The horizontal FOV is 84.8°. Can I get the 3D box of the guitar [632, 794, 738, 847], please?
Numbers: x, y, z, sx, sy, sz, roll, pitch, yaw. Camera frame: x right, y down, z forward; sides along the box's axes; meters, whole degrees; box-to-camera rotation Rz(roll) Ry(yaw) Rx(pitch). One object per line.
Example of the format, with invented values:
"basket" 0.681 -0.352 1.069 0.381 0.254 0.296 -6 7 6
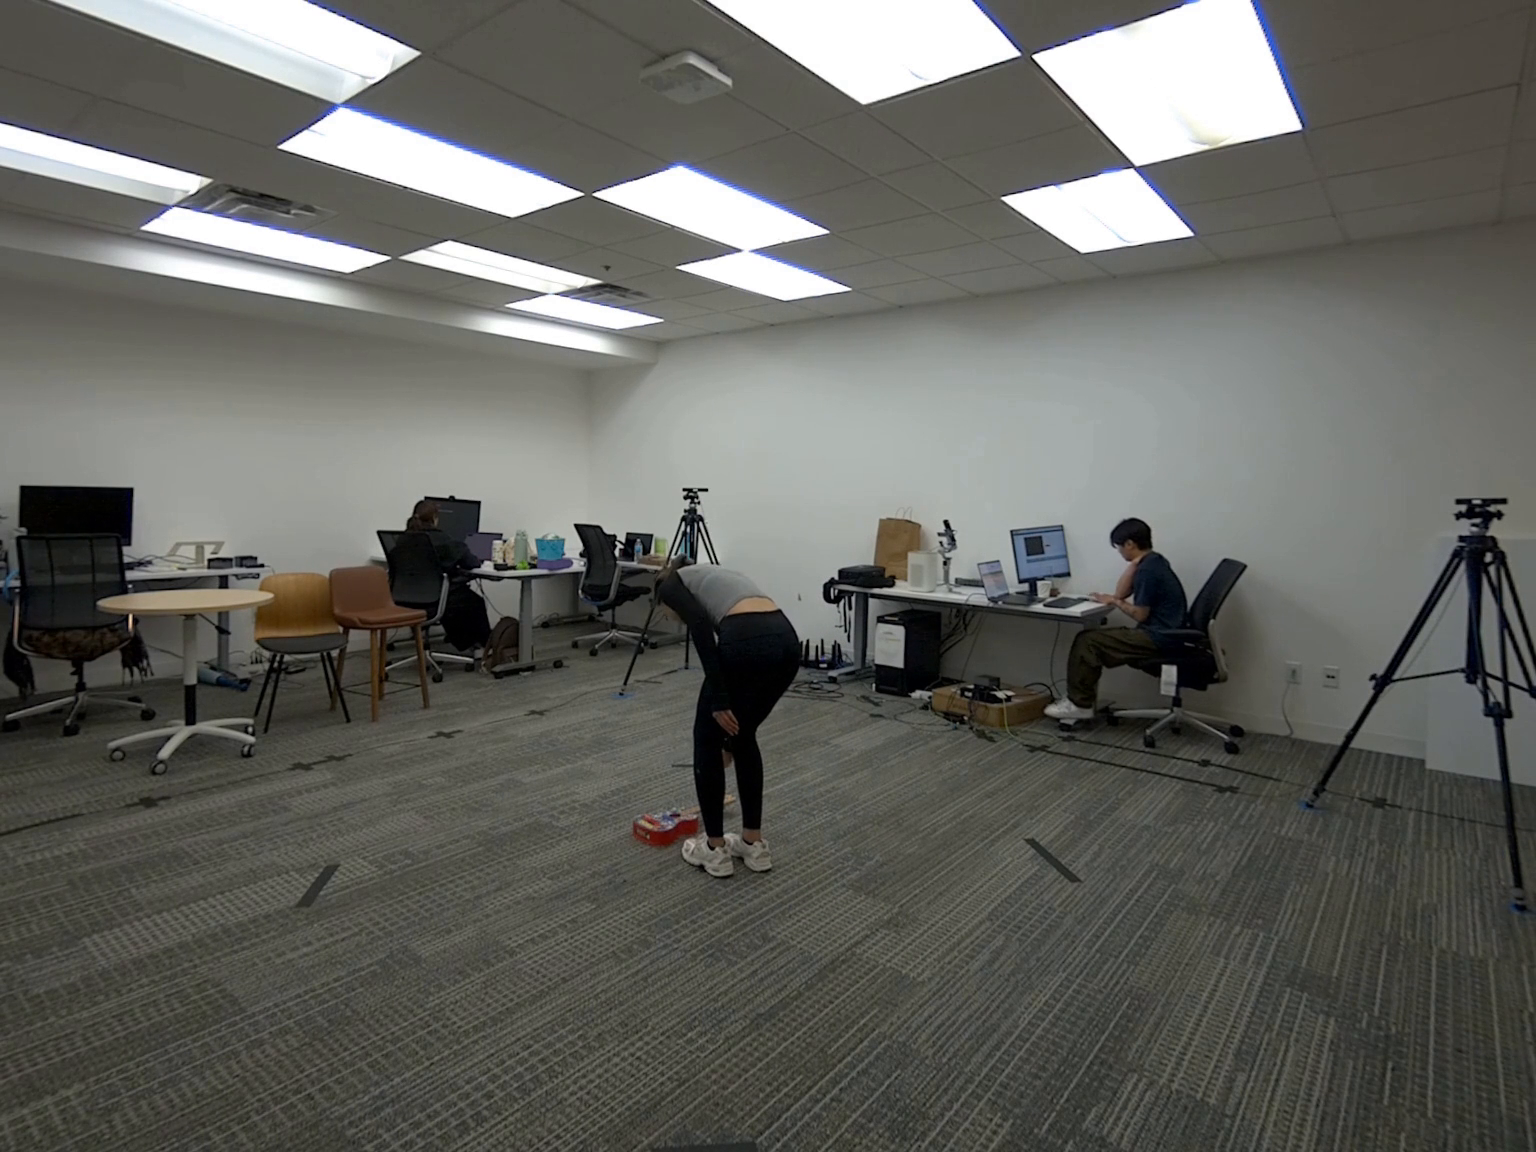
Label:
"guitar" -0.321 0.996 3.489 0.484 0.070 0.199 -4 7 -34
